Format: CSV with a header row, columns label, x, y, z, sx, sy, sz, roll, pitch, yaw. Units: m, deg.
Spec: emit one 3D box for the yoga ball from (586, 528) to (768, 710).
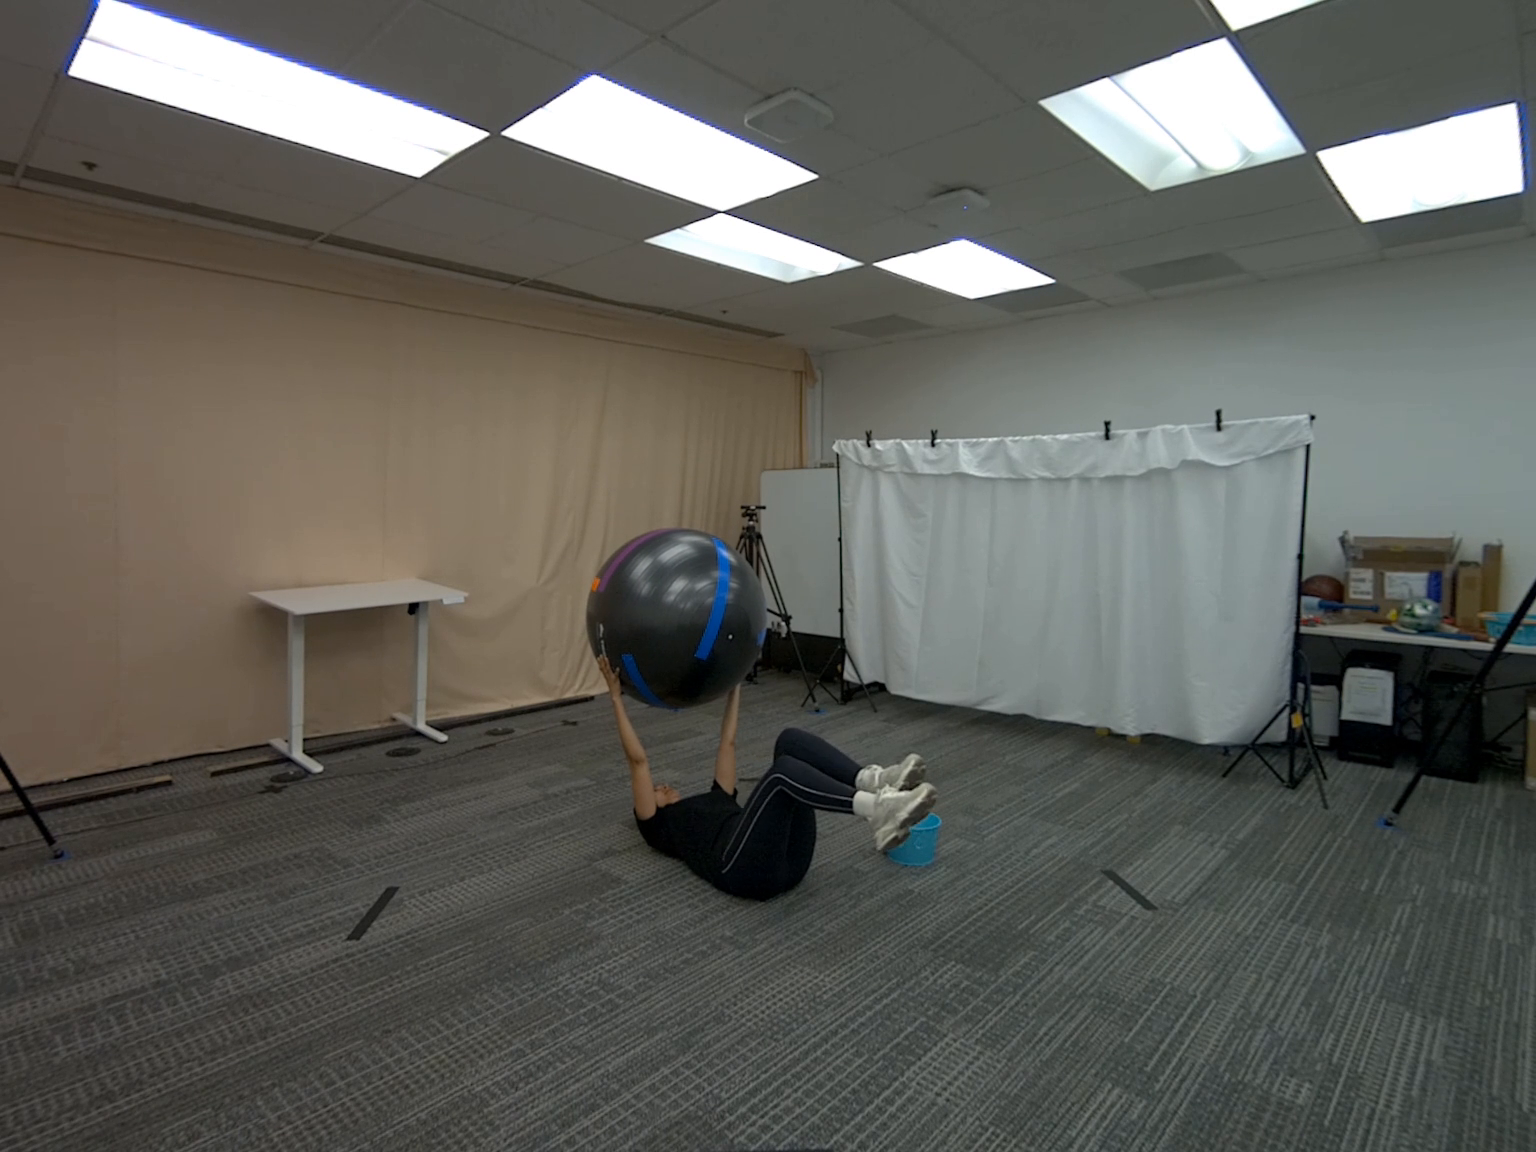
label,x,y,z,sx,sy,sz,roll,pitch,yaw
yoga ball,-0.383,0.178,3.542,0.757,0.756,0.761,3,5,-2
